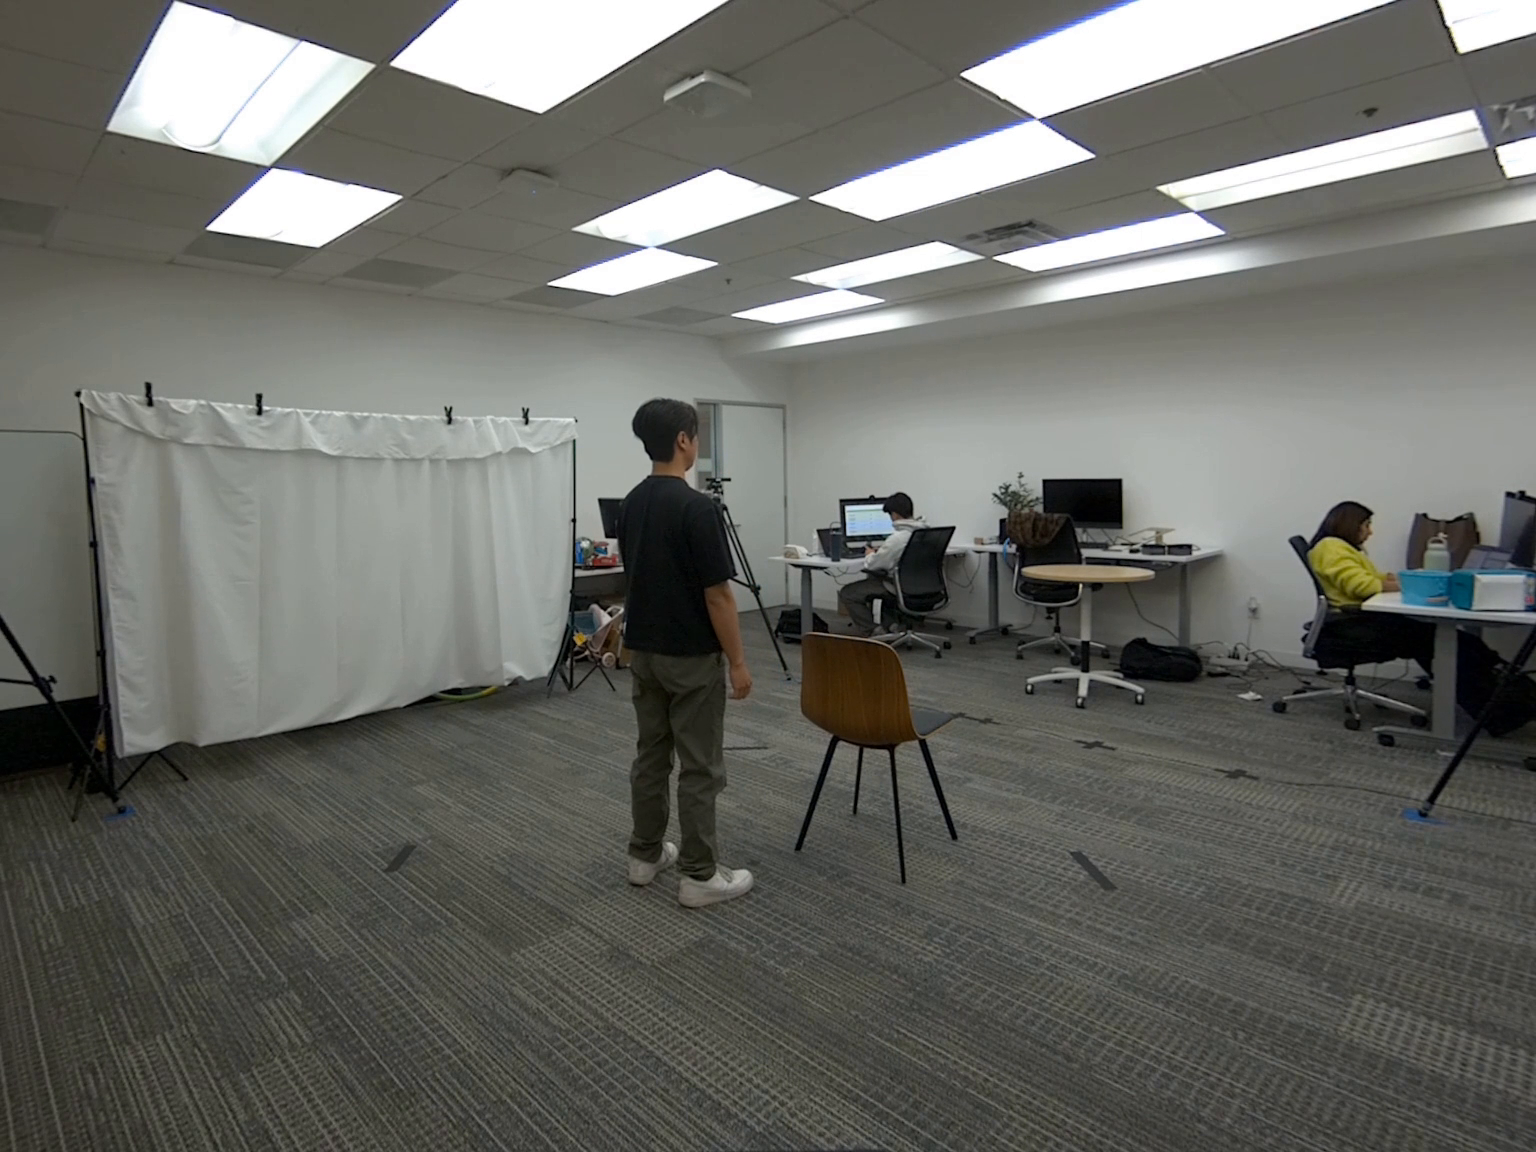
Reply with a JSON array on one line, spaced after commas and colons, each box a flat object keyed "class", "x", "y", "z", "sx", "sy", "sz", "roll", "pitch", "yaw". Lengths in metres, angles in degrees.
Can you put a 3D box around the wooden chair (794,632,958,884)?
[{"class": "wooden chair", "x": 0.410, "y": 0.595, "z": 3.214, "sx": 0.492, "sy": 0.871, "sz": 0.512, "roll": 2, "pitch": 9, "yaw": 36}]
